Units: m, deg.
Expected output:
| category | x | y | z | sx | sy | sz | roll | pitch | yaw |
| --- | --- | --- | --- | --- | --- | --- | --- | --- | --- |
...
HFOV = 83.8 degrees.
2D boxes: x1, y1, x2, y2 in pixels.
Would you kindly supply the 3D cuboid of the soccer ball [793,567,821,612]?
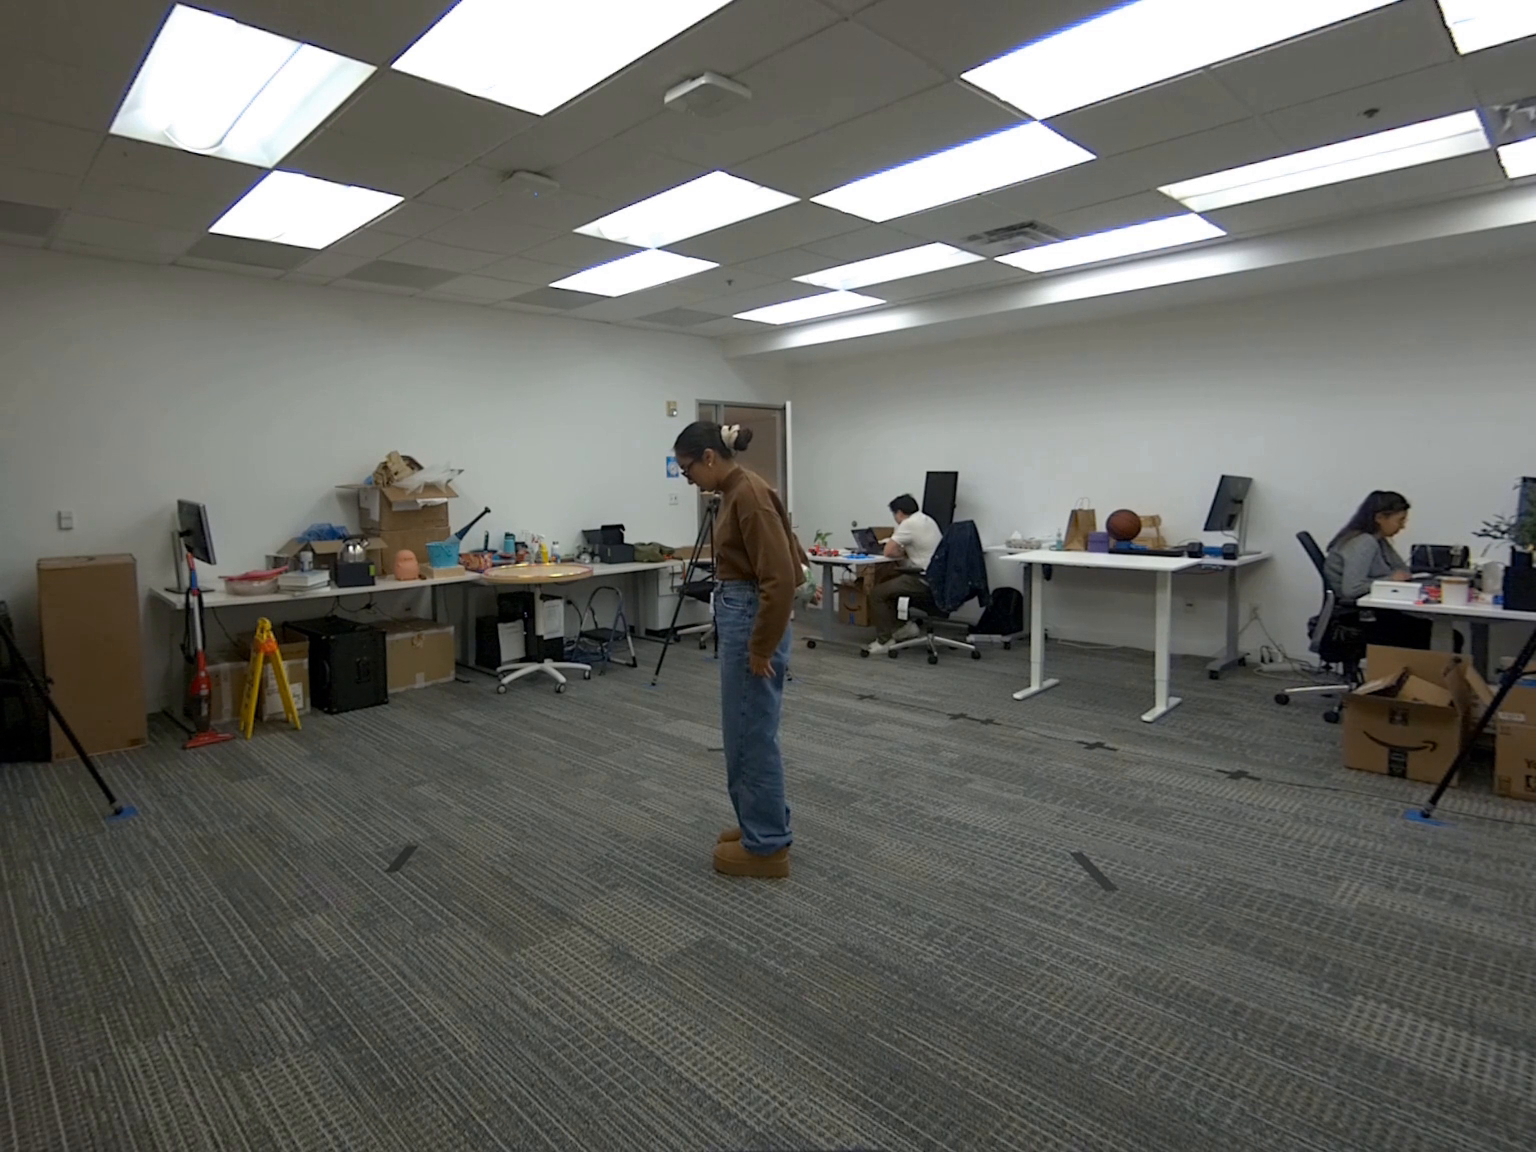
| category | x | y | z | sx | sy | sz | roll | pitch | yaw |
| --- | --- | --- | --- | --- | --- | --- | --- | --- | --- |
| soccer ball | 0.102 | 0.042 | 3.223 | 0.187 | 0.187 | 0.188 | -1 | 5 | -2 |
